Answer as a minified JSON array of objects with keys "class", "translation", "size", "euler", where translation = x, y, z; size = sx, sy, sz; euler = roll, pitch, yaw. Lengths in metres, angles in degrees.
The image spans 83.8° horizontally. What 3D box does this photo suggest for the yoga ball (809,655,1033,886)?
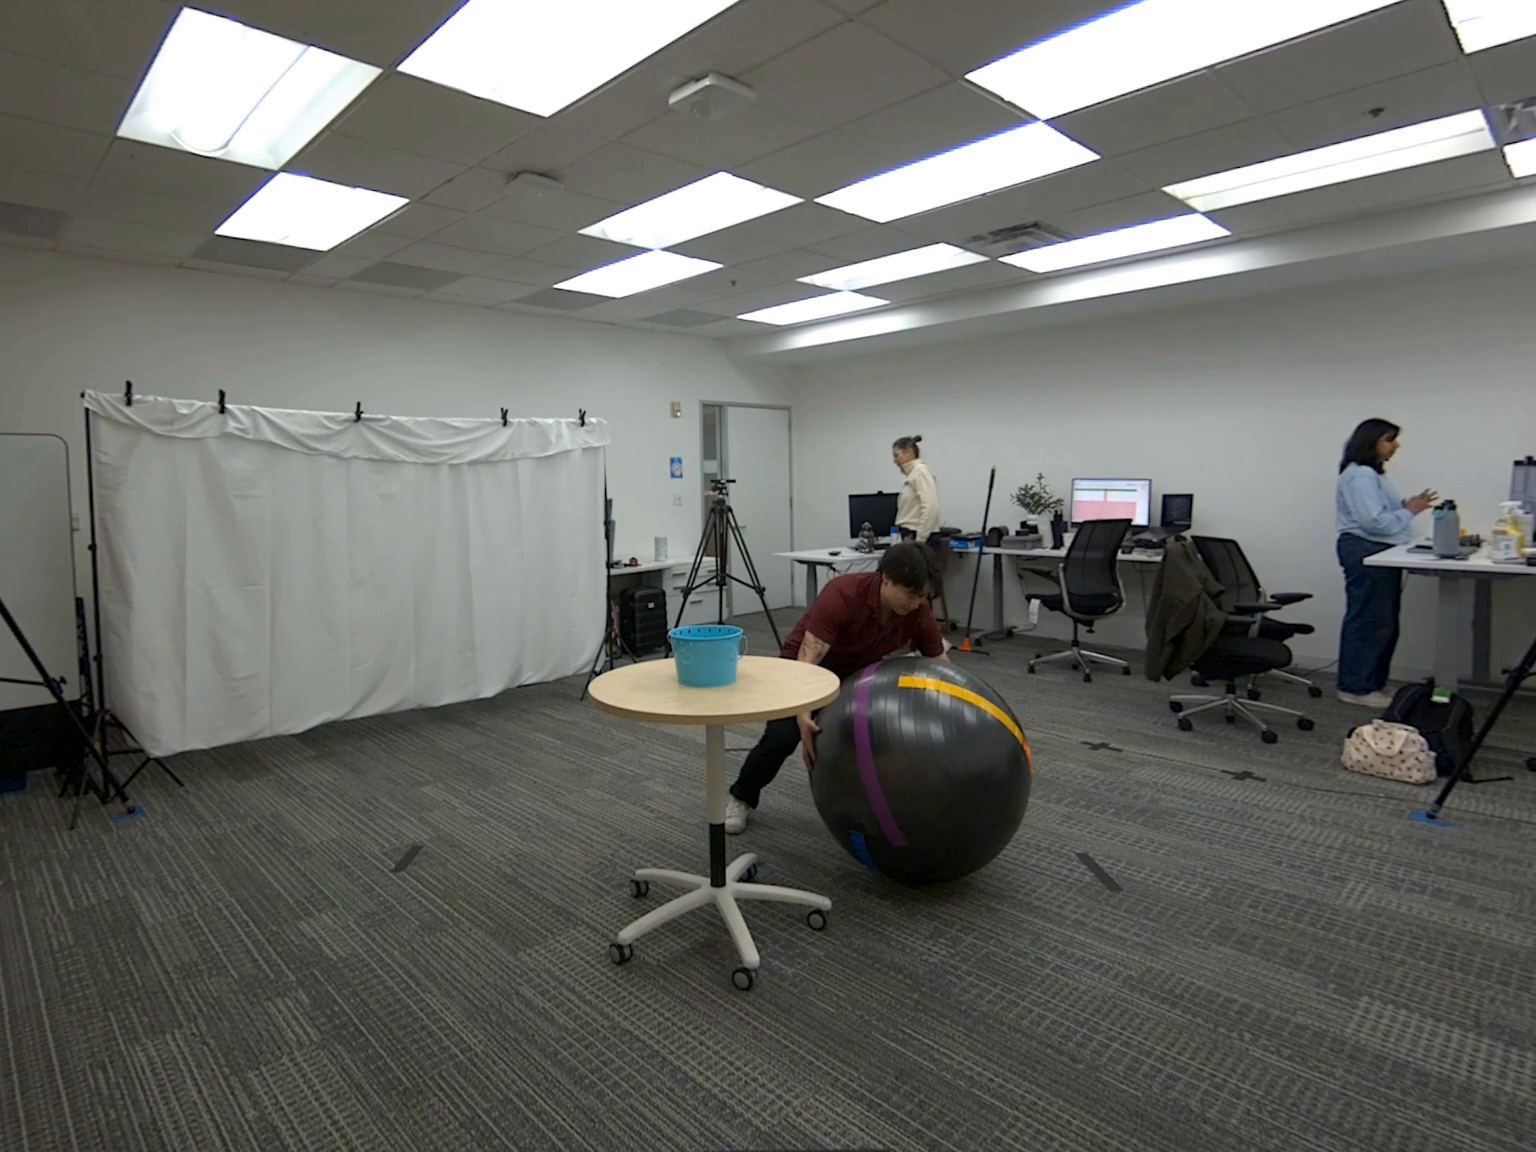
[{"class":"yoga ball","translation":[0.529,0.677,2.975],"size":[0.757,0.755,0.762],"euler":[-1,5,-2]}]
